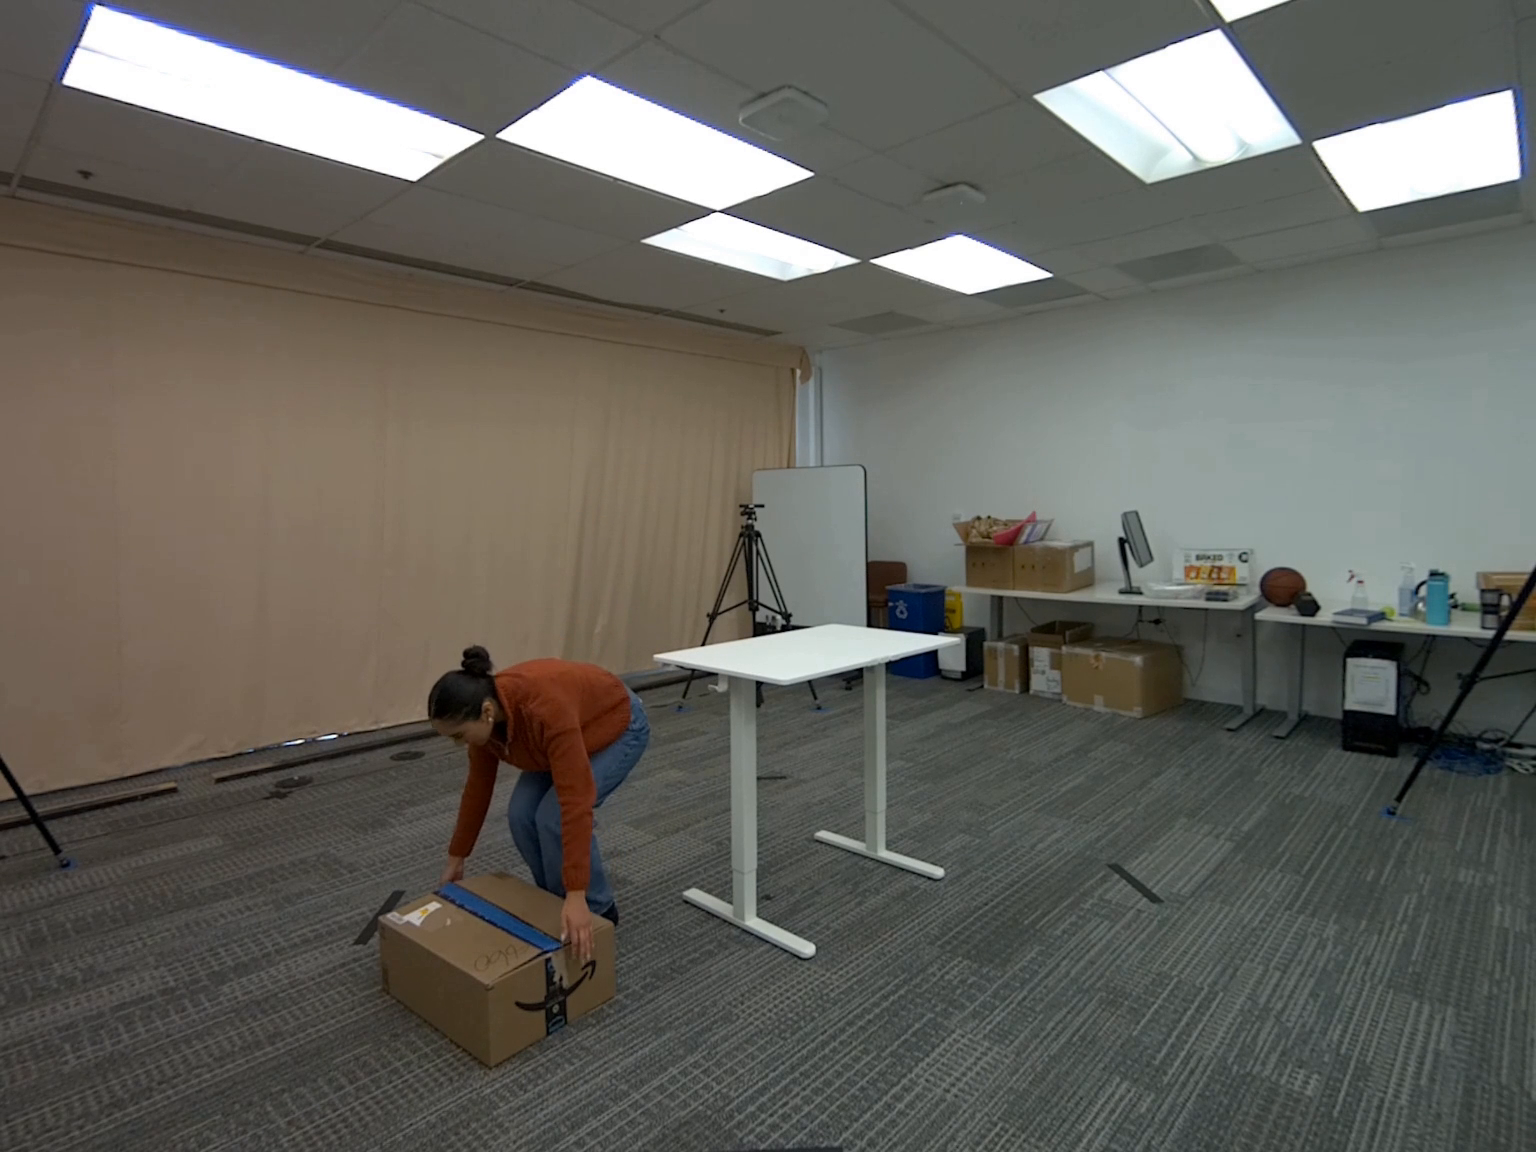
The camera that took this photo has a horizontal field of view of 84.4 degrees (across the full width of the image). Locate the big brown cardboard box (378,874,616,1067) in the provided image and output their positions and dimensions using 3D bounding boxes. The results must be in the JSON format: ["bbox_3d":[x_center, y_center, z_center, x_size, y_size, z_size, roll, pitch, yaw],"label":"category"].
[{"bbox_3d":[-0.788,1.090,2.427,0.608,0.232,0.405,4,7,39],"label":"big brown cardboard box"}]
